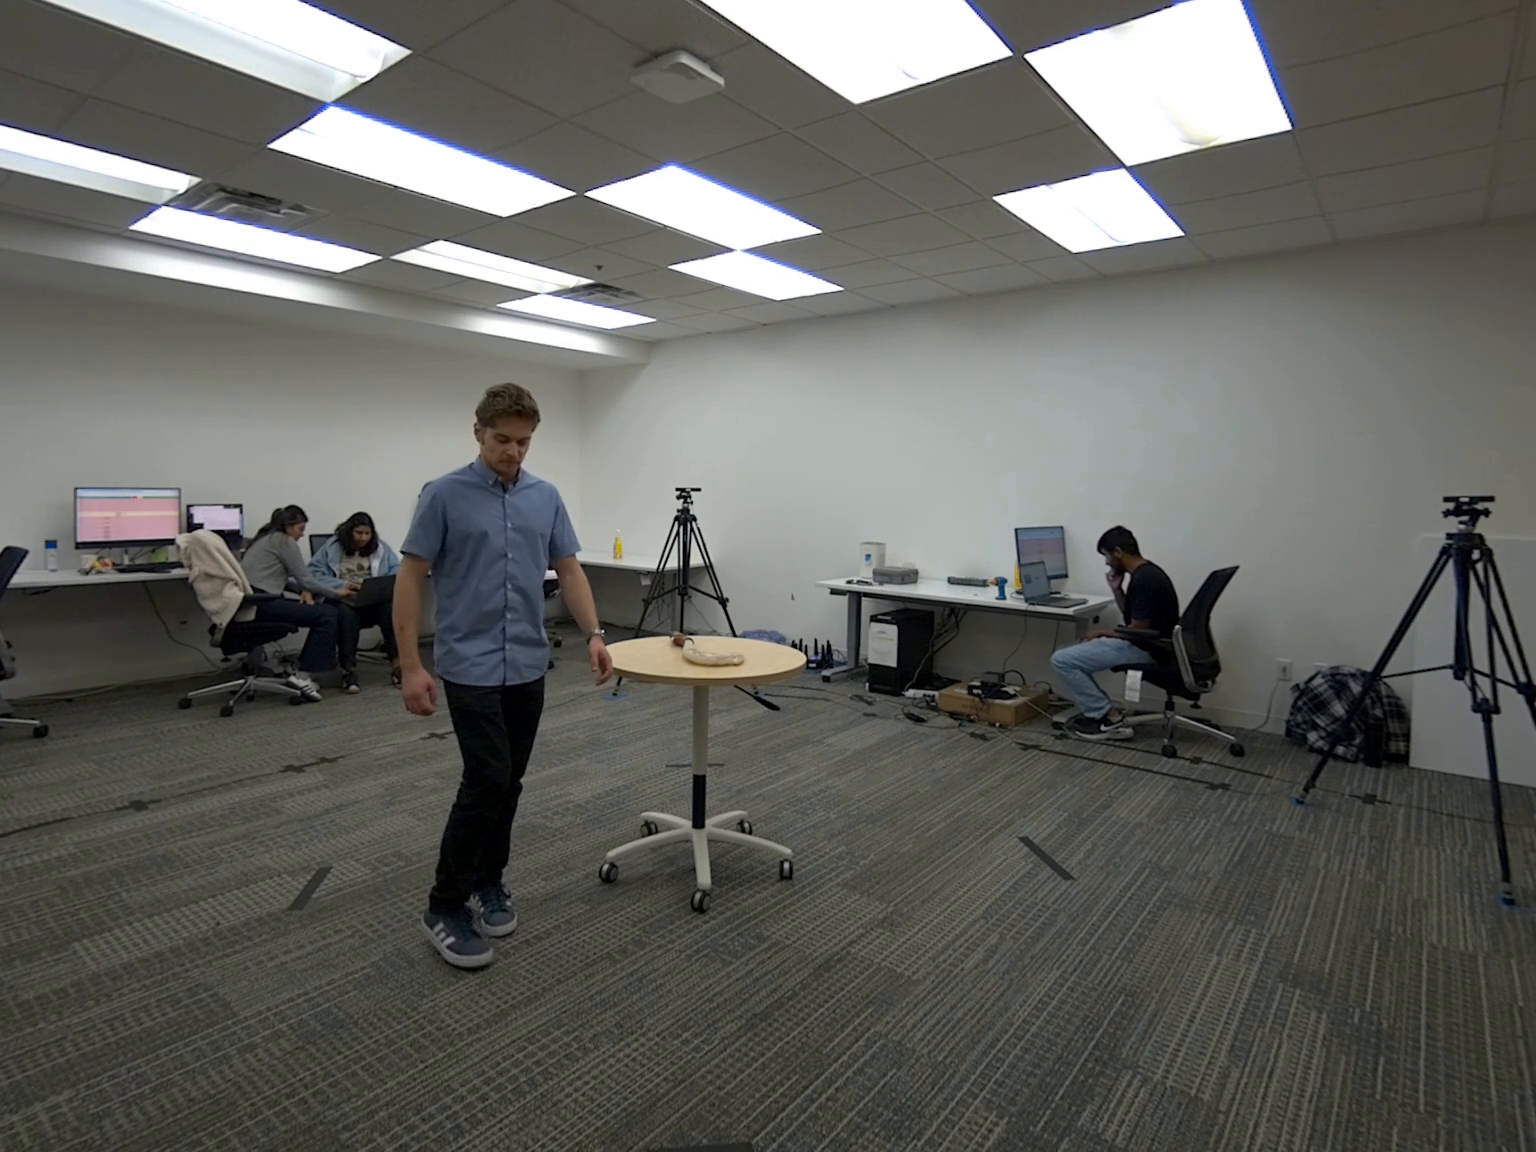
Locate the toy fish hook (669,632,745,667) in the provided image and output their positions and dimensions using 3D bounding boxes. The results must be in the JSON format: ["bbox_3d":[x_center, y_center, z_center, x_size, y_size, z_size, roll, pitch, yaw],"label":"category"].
[{"bbox_3d":[-0.247,0.267,3.138,0.220,0.048,0.517,6,5,-18],"label":"toy fish hook"}]
